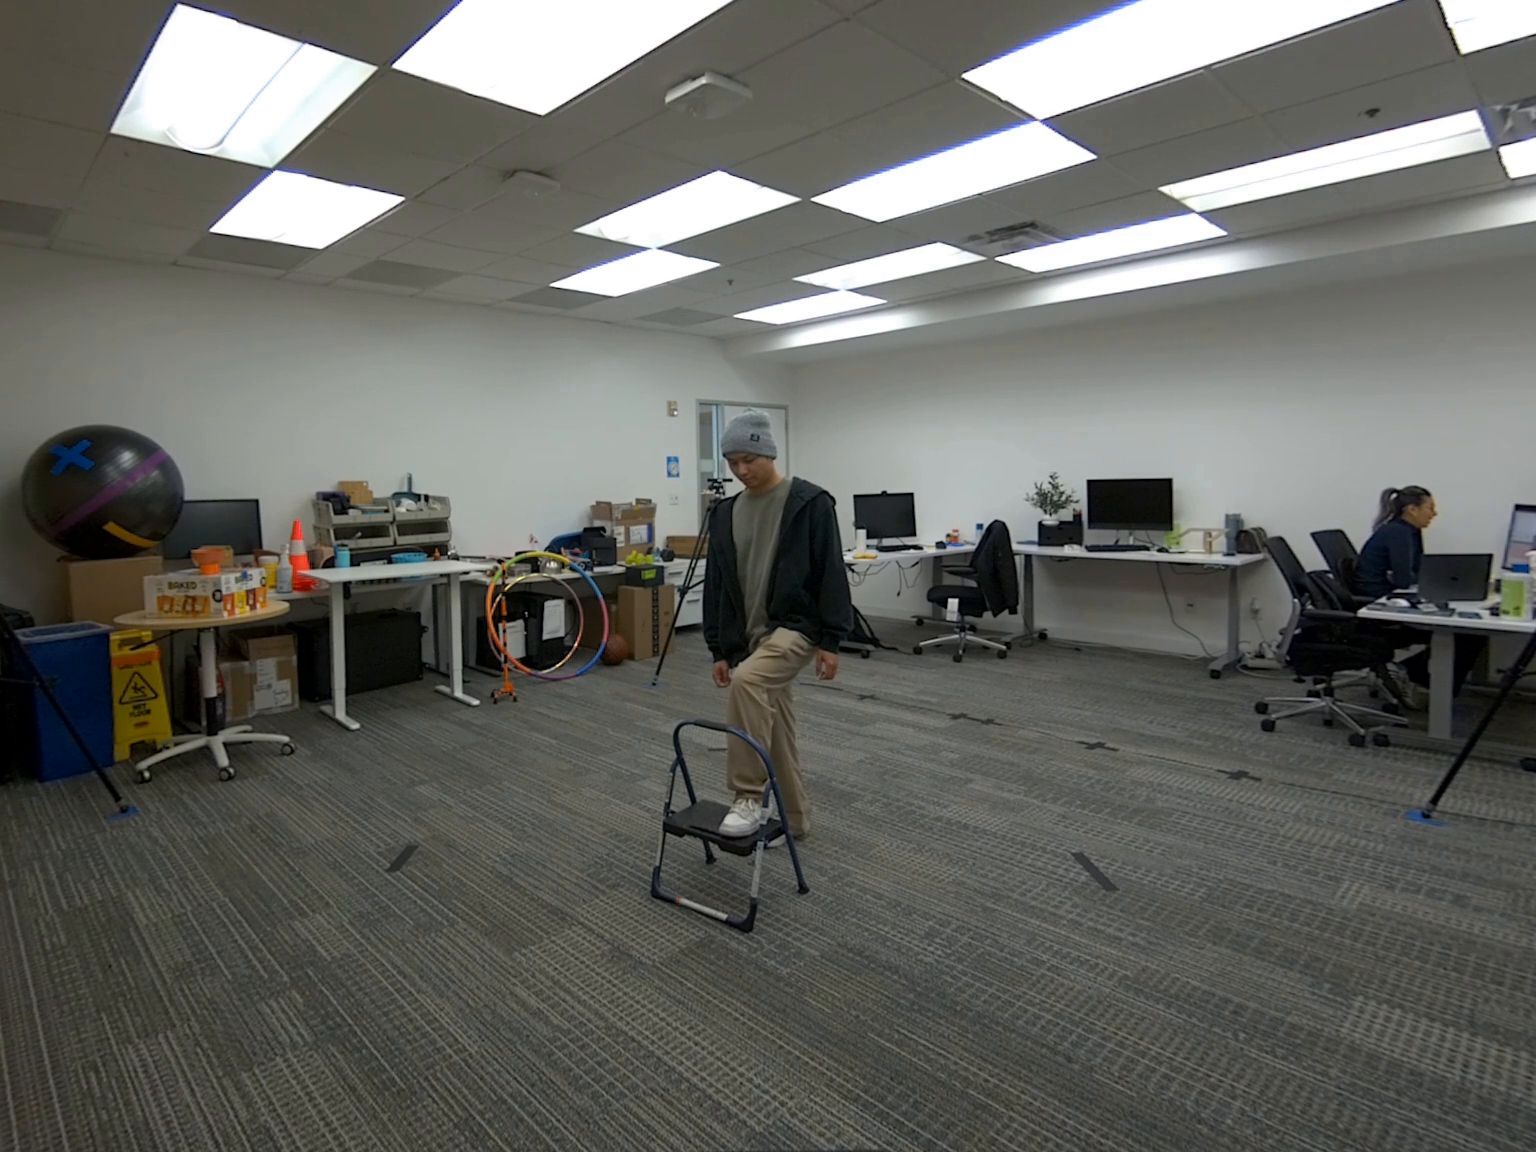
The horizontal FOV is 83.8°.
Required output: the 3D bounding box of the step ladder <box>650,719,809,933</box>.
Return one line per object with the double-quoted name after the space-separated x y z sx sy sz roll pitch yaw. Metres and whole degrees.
-0.138 0.772 2.864 0.443 0.603 0.341 2 6 36 "step ladder"
